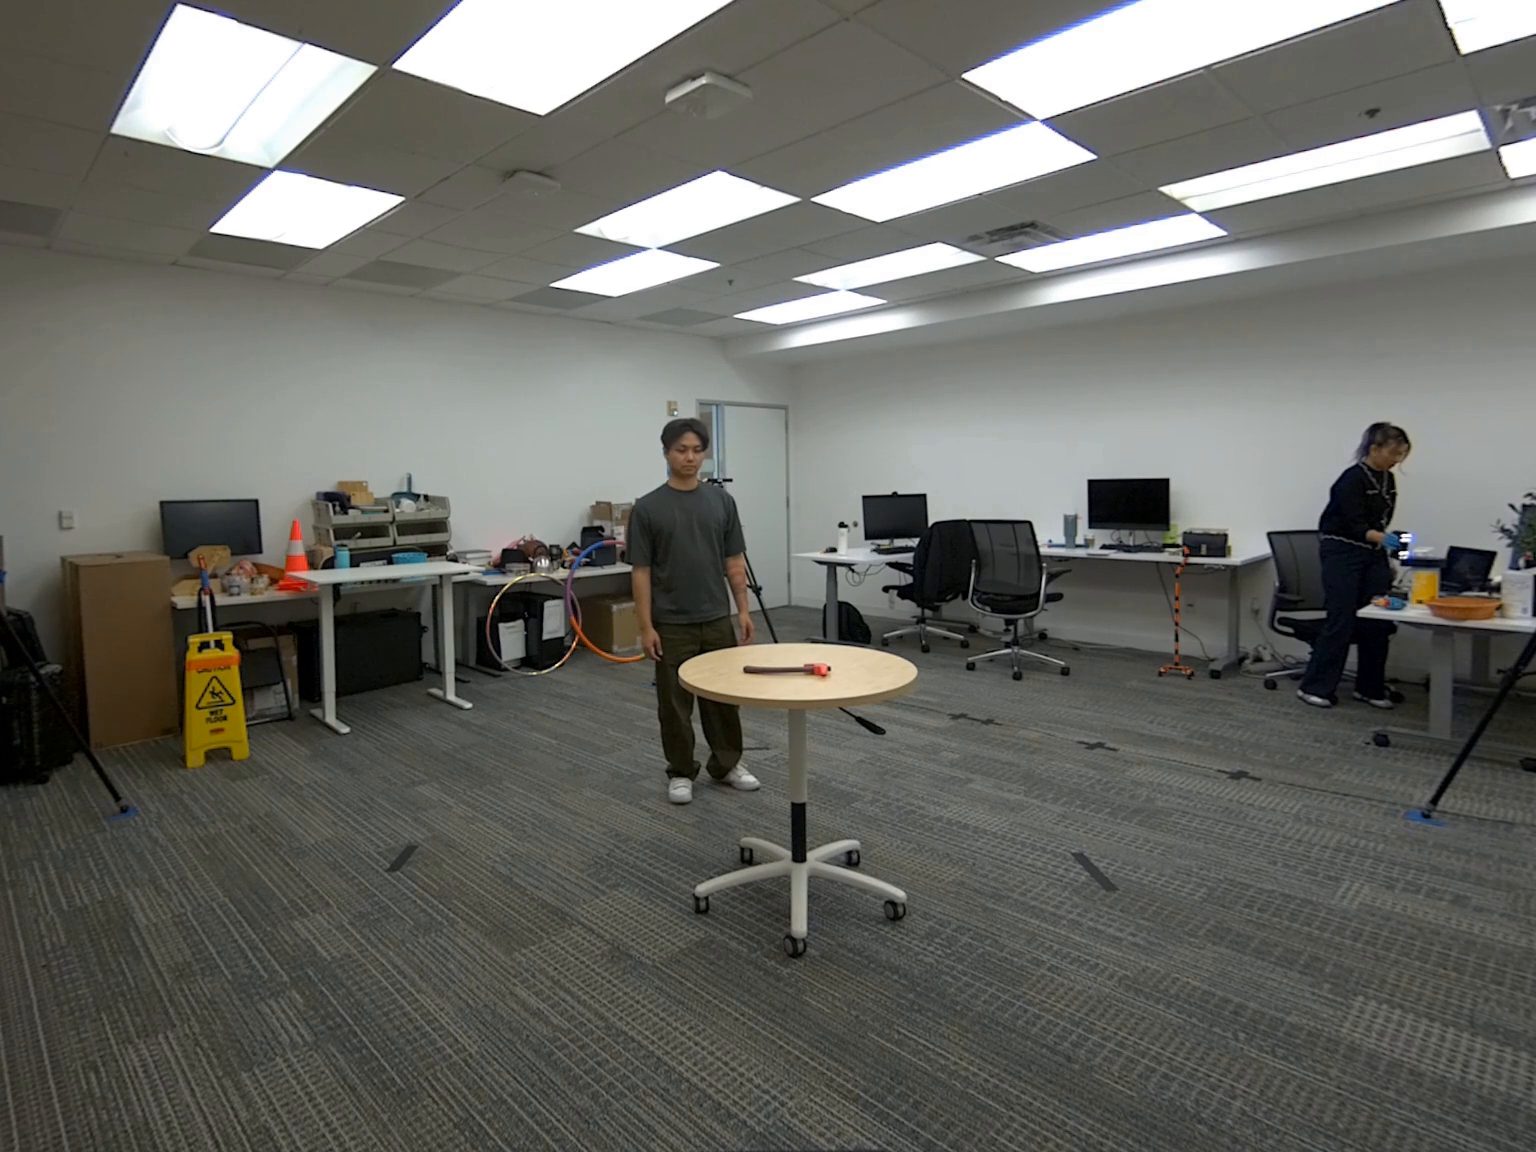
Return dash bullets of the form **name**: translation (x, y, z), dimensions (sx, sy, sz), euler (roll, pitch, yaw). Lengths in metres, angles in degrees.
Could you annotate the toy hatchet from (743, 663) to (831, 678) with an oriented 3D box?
- **toy hatchet**: translation (0.074, 0.293, 2.712), dimensions (0.275, 0.029, 0.129), euler (0, 6, 20)
